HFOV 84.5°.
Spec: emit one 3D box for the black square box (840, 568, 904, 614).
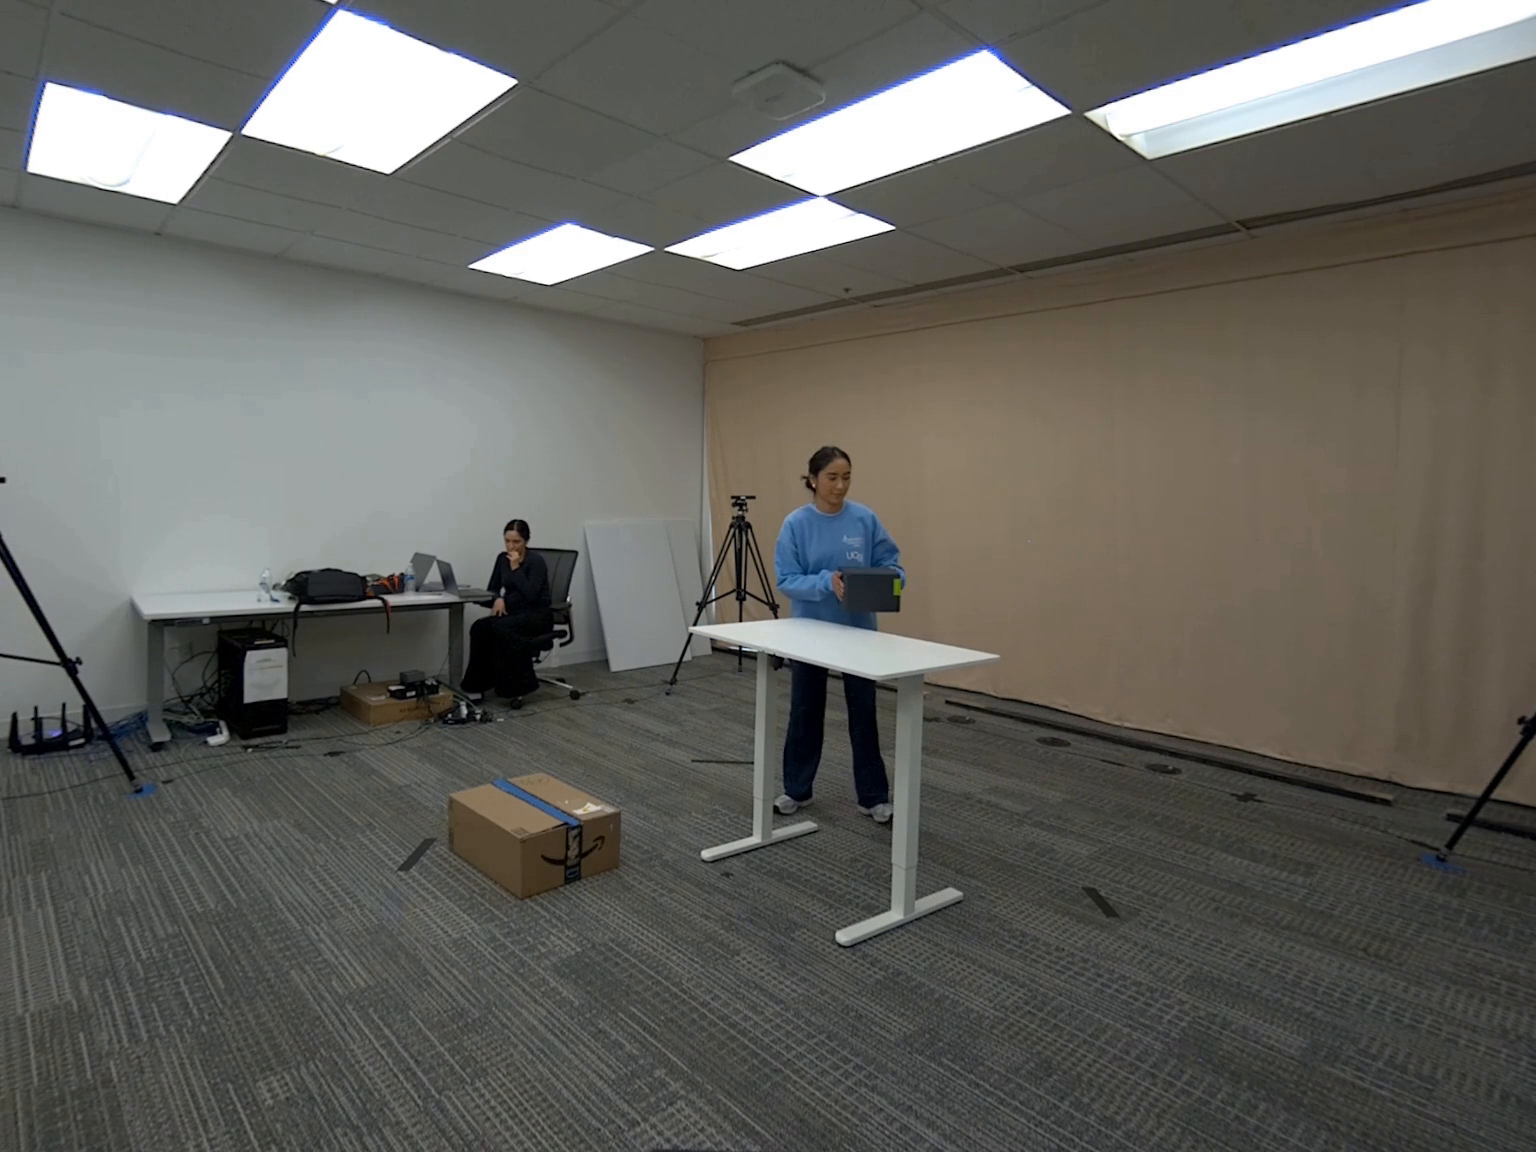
[{"bbox_3d":[0.411,0.054,3.411,0.217,0.155,0.229,0,6,0],"label":"black square box"}]
